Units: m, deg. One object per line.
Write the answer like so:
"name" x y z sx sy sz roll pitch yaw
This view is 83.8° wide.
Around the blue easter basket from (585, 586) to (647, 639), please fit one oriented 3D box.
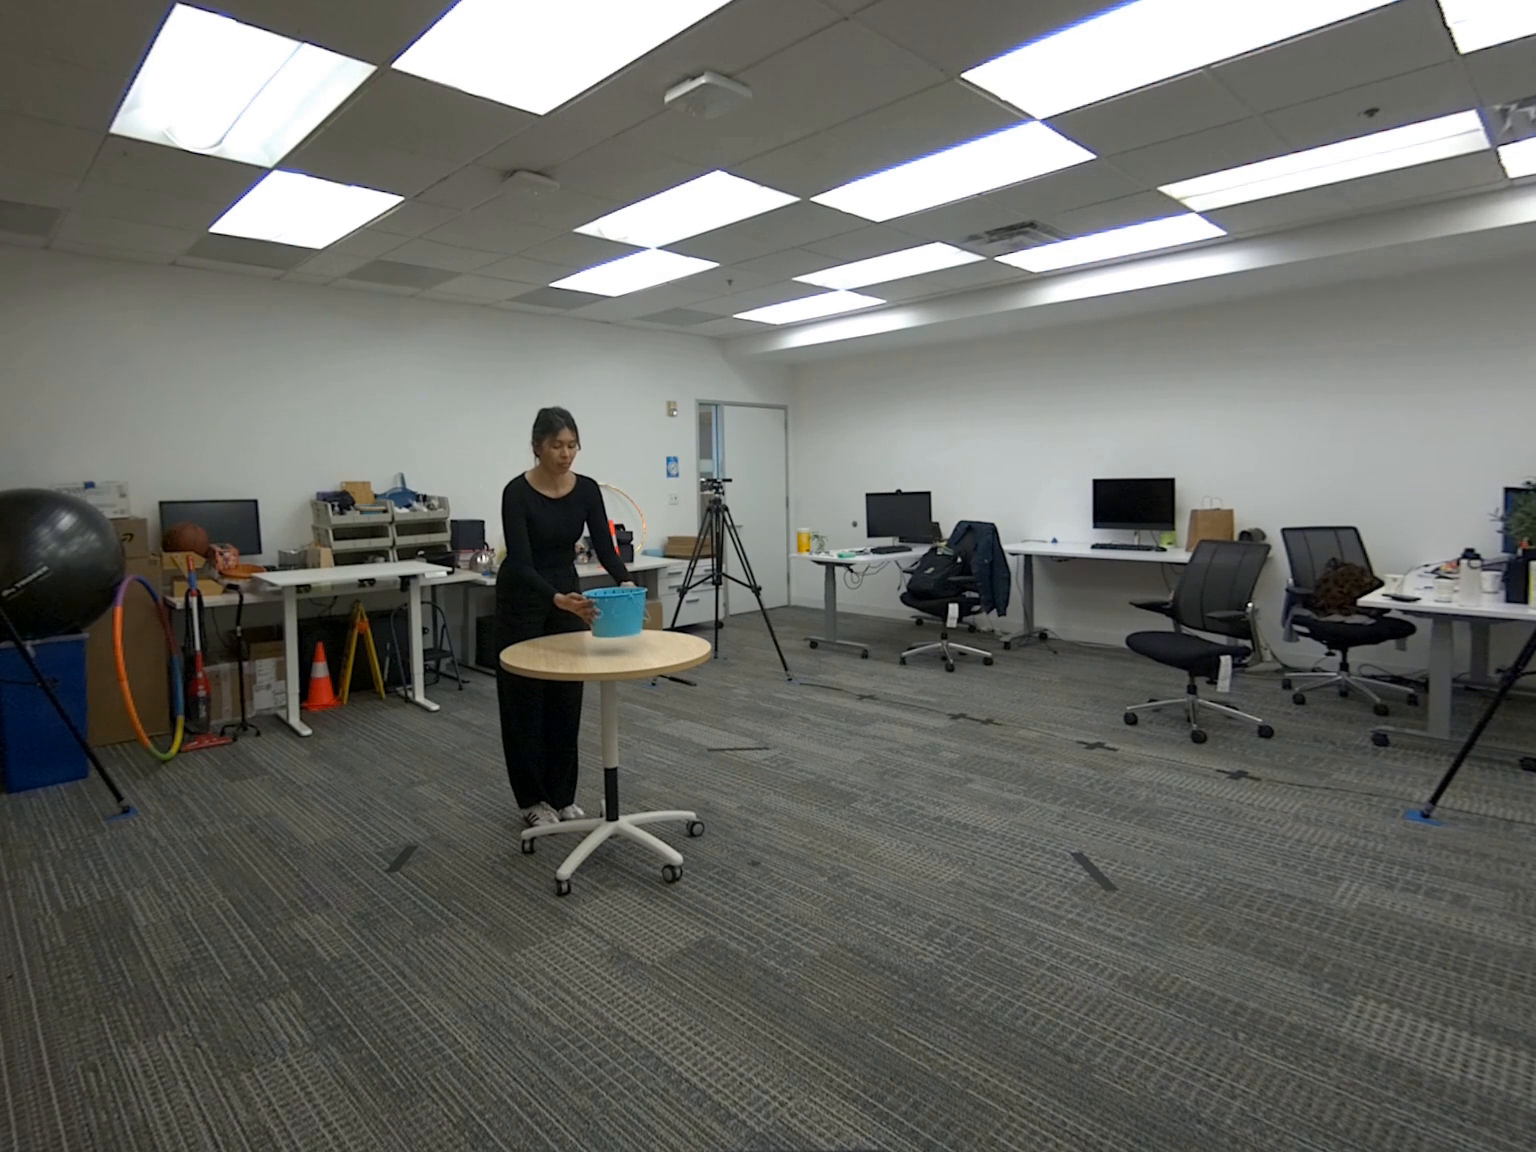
"blue easter basket" -0.547 0.131 3.081 0.243 0.155 0.245 -4 6 -1
